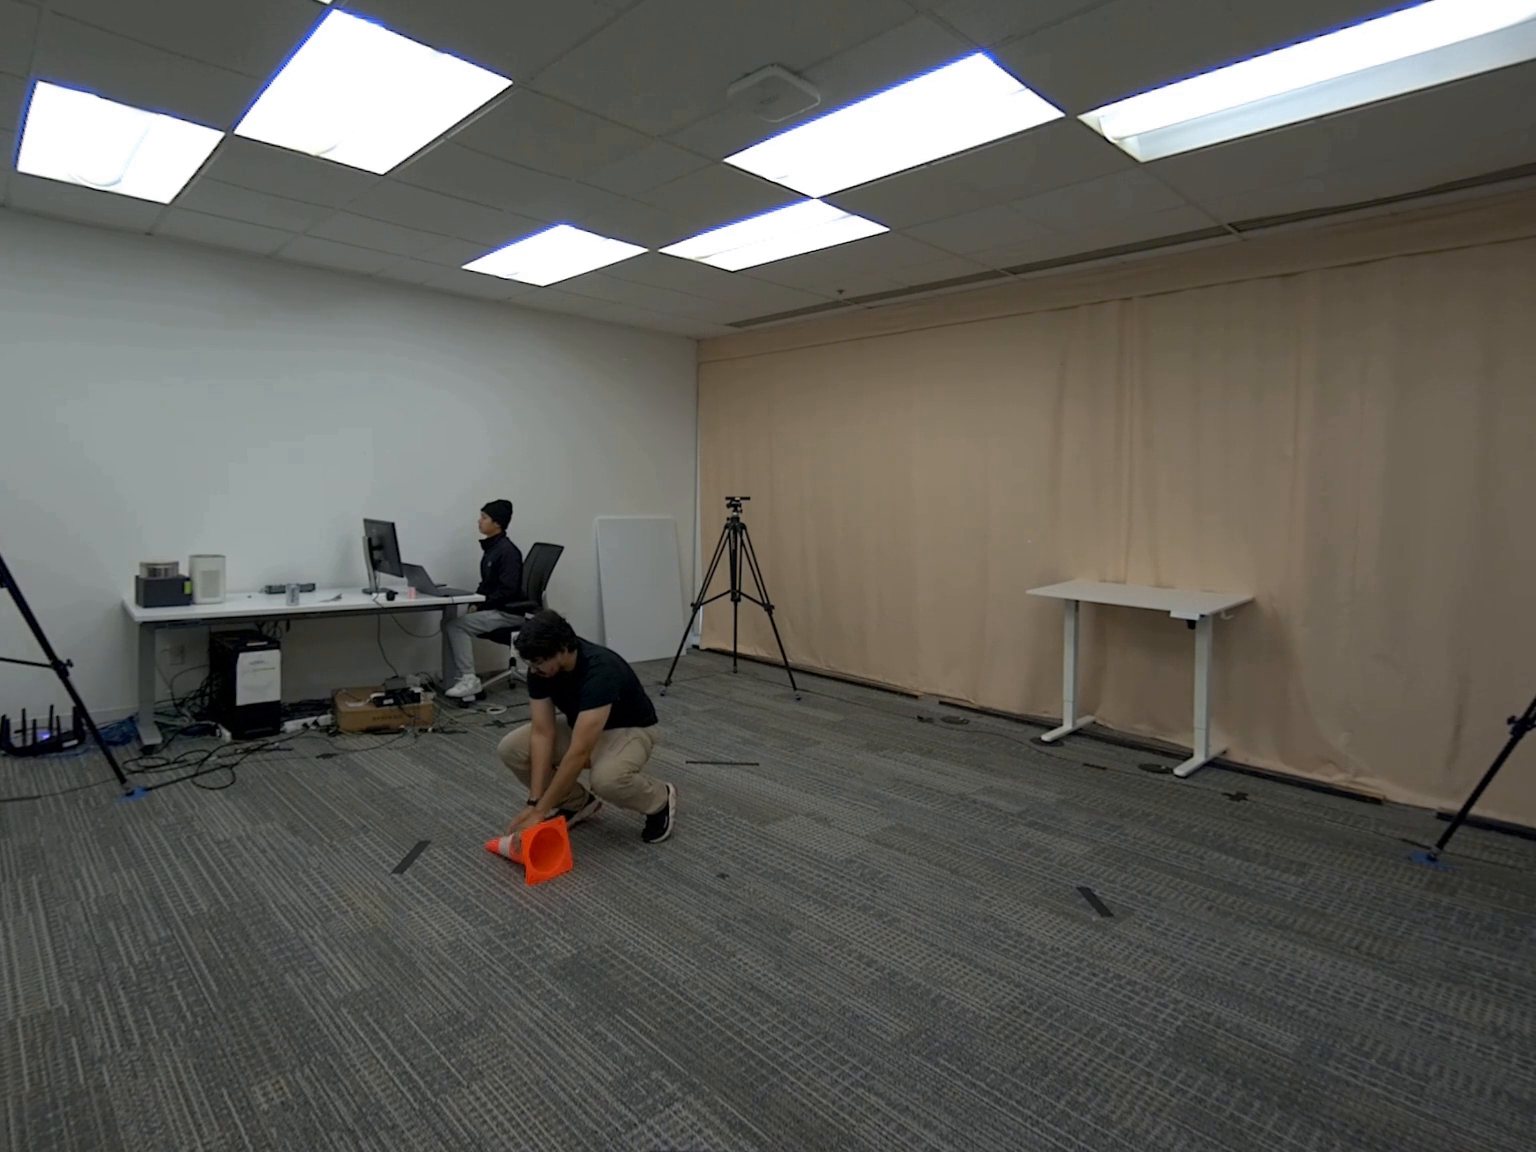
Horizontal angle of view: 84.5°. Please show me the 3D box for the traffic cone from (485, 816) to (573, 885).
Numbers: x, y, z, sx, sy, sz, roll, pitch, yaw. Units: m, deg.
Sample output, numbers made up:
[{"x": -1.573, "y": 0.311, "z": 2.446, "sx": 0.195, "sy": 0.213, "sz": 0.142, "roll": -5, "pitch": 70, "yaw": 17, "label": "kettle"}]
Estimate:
[{"x": -0.963, "y": 1.030, "z": 3.183, "sx": 0.390, "sy": 0.205, "sz": 0.199, "roll": -13, "pitch": -3, "yaw": 40, "label": "traffic cone"}]
